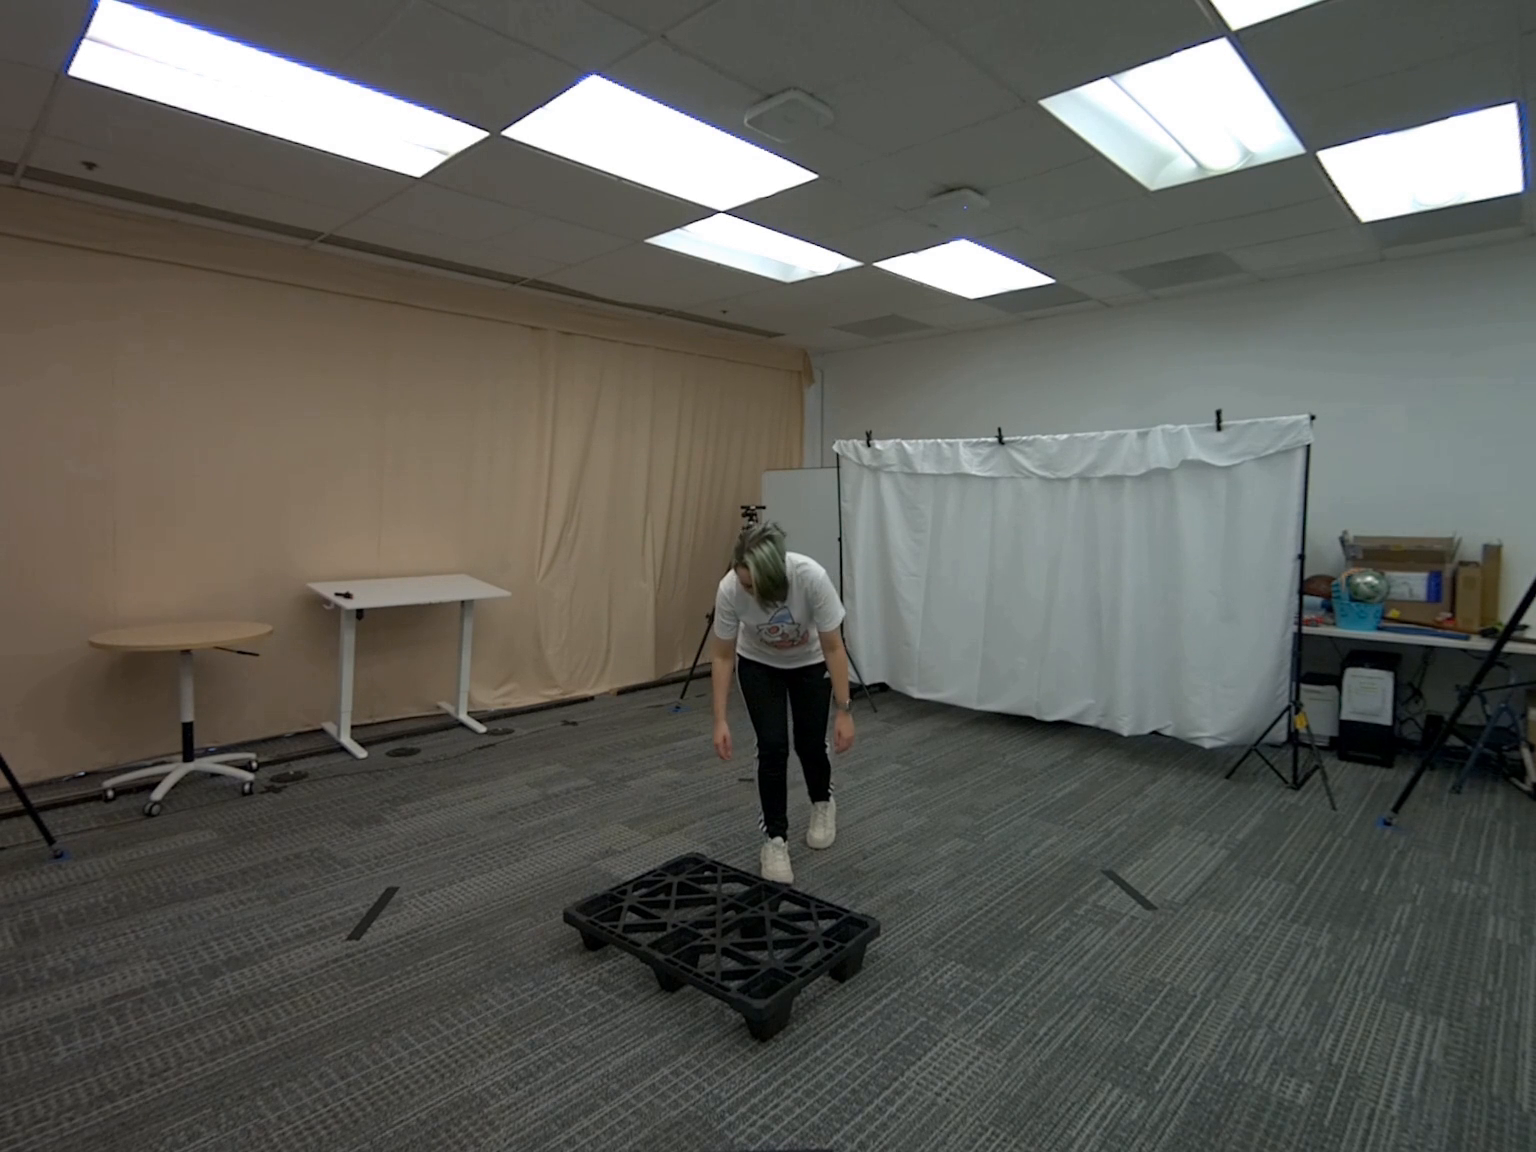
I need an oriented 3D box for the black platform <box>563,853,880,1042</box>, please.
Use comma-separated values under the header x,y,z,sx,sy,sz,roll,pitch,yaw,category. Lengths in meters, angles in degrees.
x,y,z,sx,sy,sz,roll,pitch,yaw,category
-0.154,1.112,2.595,0.832,0.143,0.587,4,6,40,black platform
